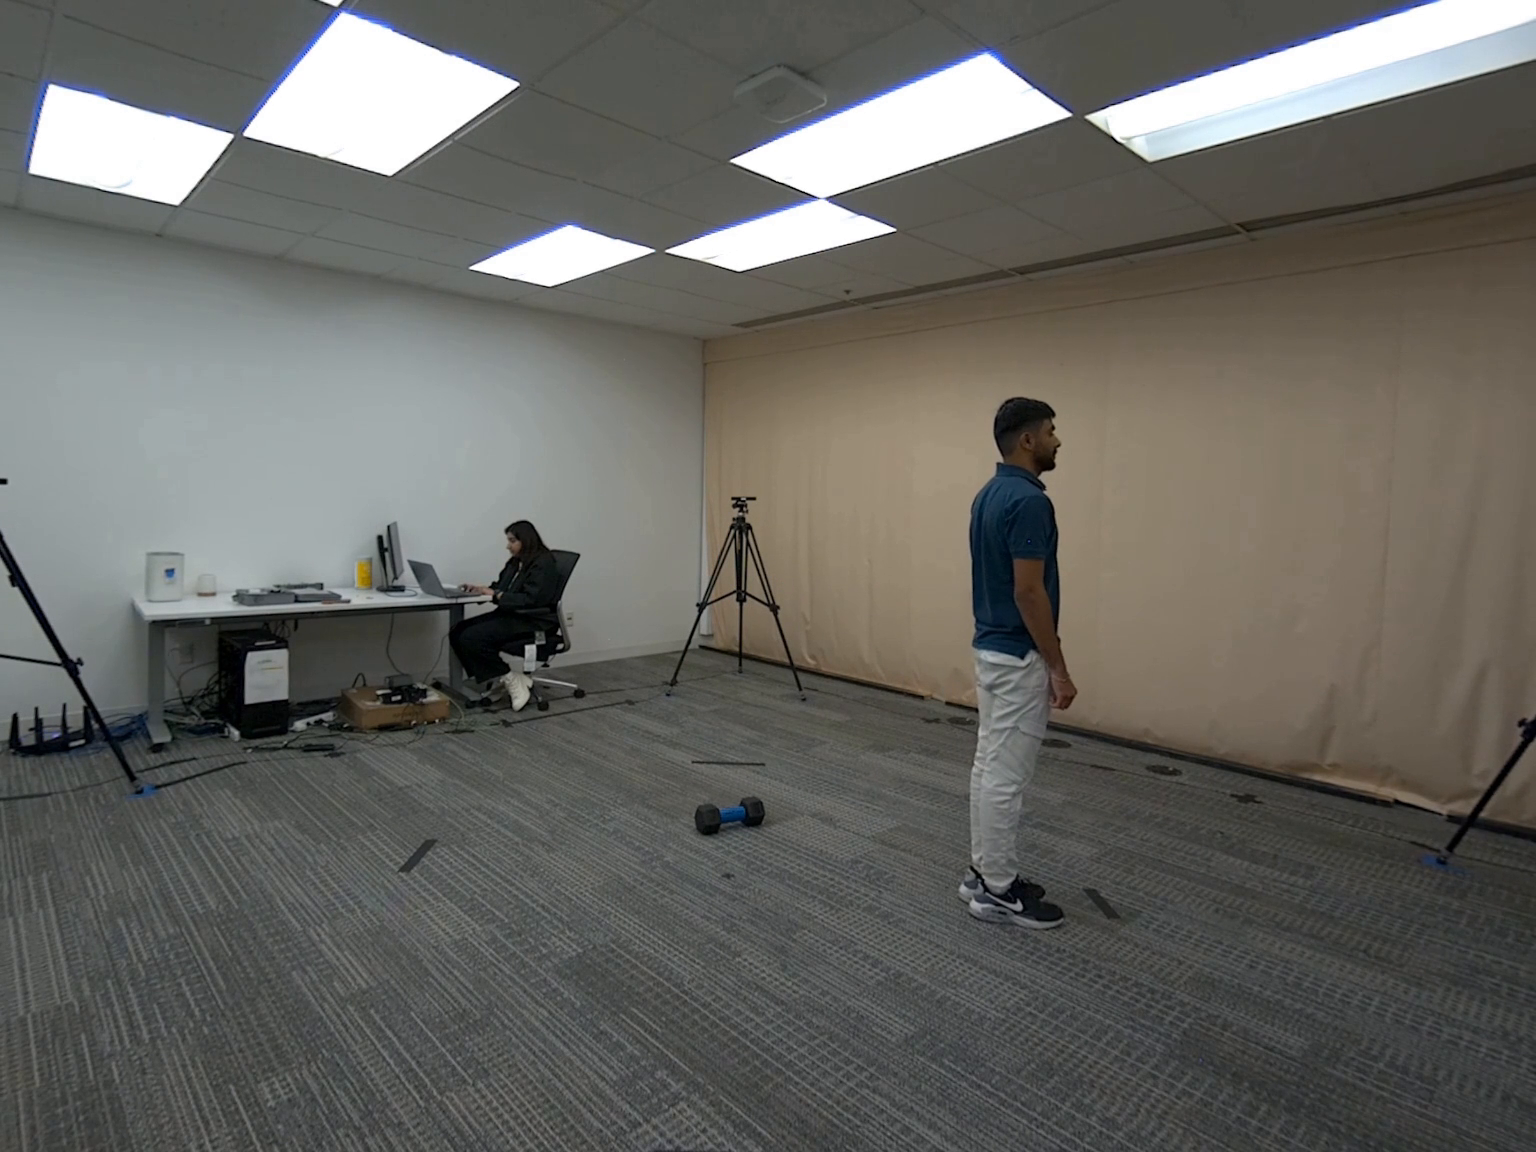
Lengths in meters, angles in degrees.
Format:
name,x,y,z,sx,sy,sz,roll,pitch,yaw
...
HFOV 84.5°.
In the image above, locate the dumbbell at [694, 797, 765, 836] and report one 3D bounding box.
name,x,y,z,sx,sy,sz,roll,pitch,yaw
dumbbell,-0.172,1.012,3.562,0.288,0.125,0.108,-2,-27,-30
